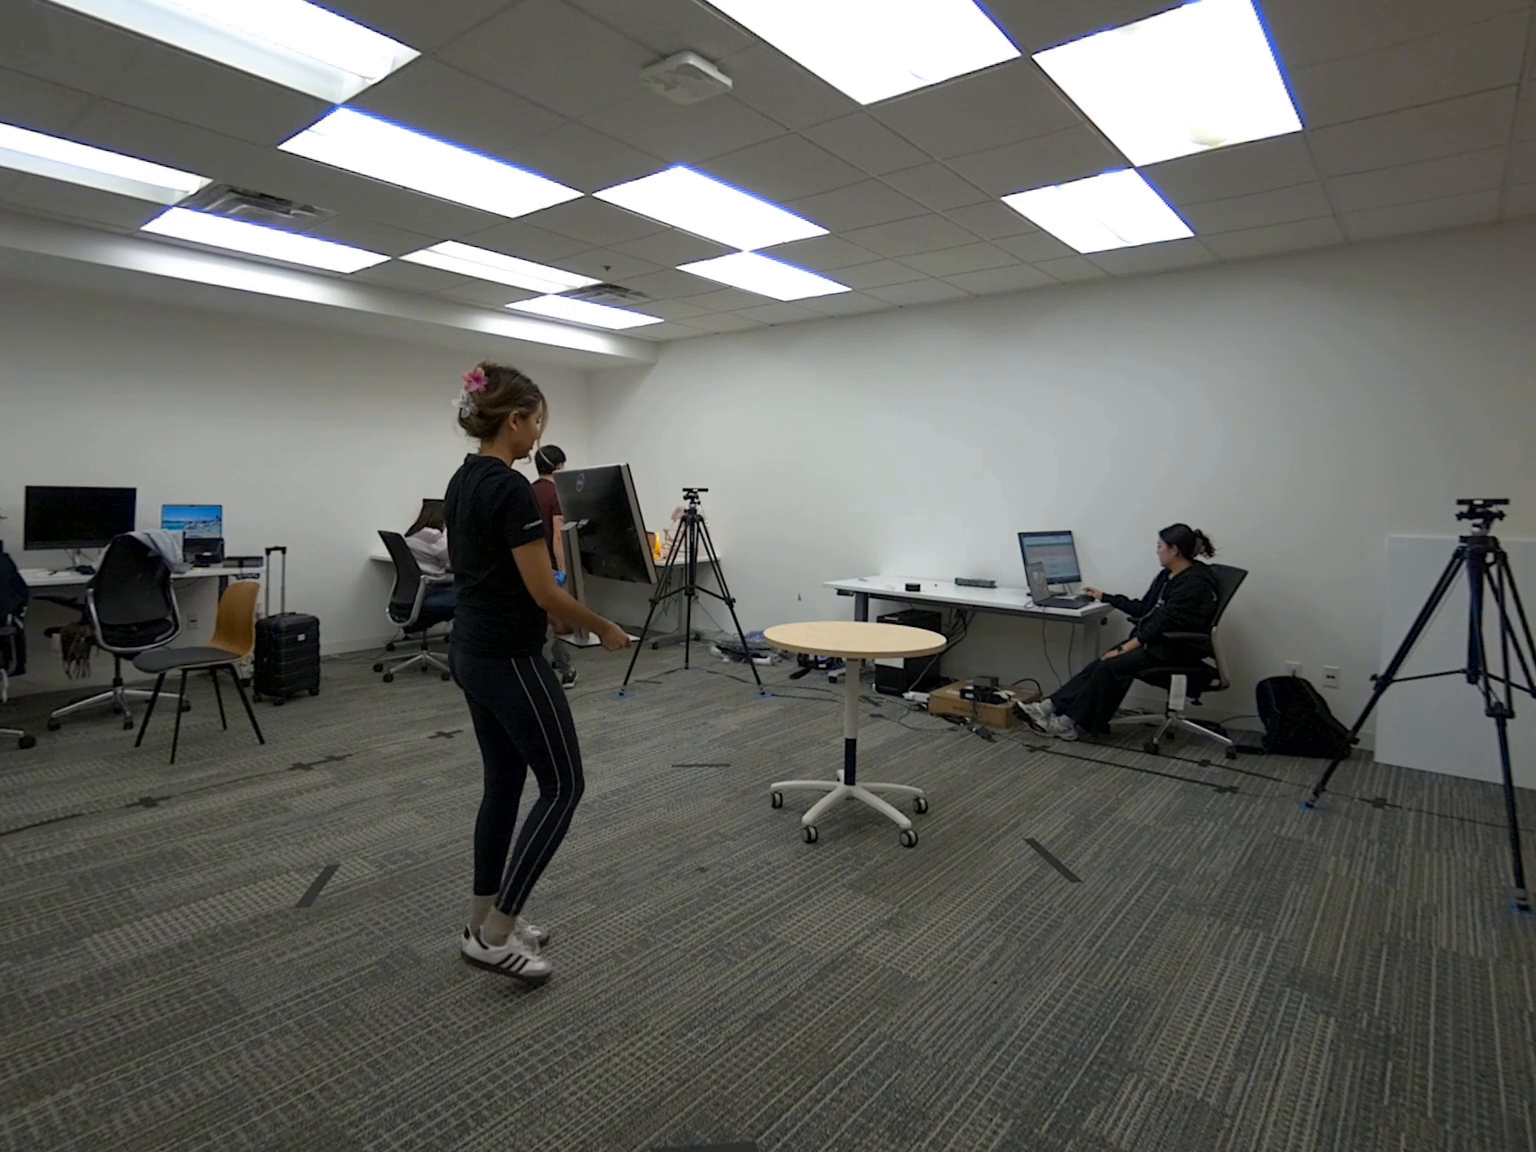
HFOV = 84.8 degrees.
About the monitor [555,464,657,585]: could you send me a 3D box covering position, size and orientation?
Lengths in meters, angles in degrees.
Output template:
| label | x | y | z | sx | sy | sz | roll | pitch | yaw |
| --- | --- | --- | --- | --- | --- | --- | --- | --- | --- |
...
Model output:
| label | x | y | z | sx | sy | sz | roll | pitch | yaw |
| --- | --- | --- | --- | --- | --- | --- | --- | --- | --- |
| monitor | -0.557 | -0.071 | 2.653 | 0.182 | 0.521 | 0.556 | -3 | 4 | -36 |
